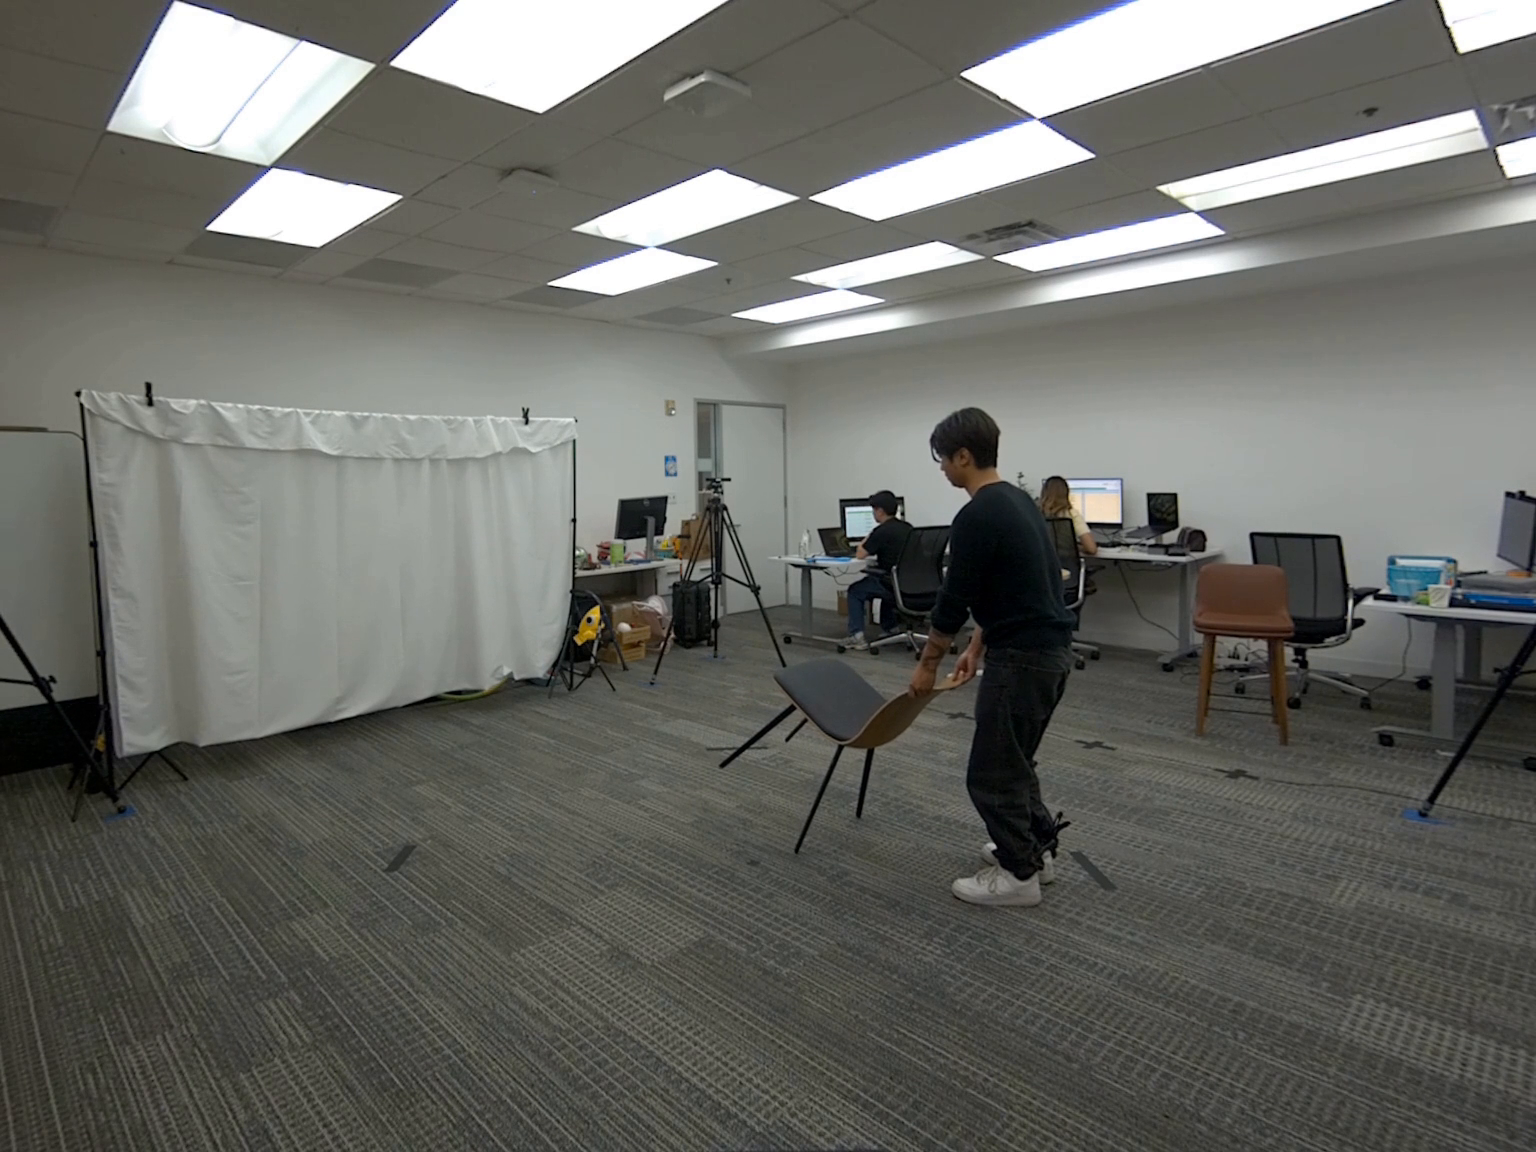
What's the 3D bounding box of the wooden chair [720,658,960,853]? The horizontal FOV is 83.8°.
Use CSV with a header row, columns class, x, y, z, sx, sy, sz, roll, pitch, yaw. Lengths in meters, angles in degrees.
class,x,y,z,sx,sy,sz,roll,pitch,yaw
wooden chair,0.270,0.532,3.281,0.465,0.872,0.540,-5,46,-50
